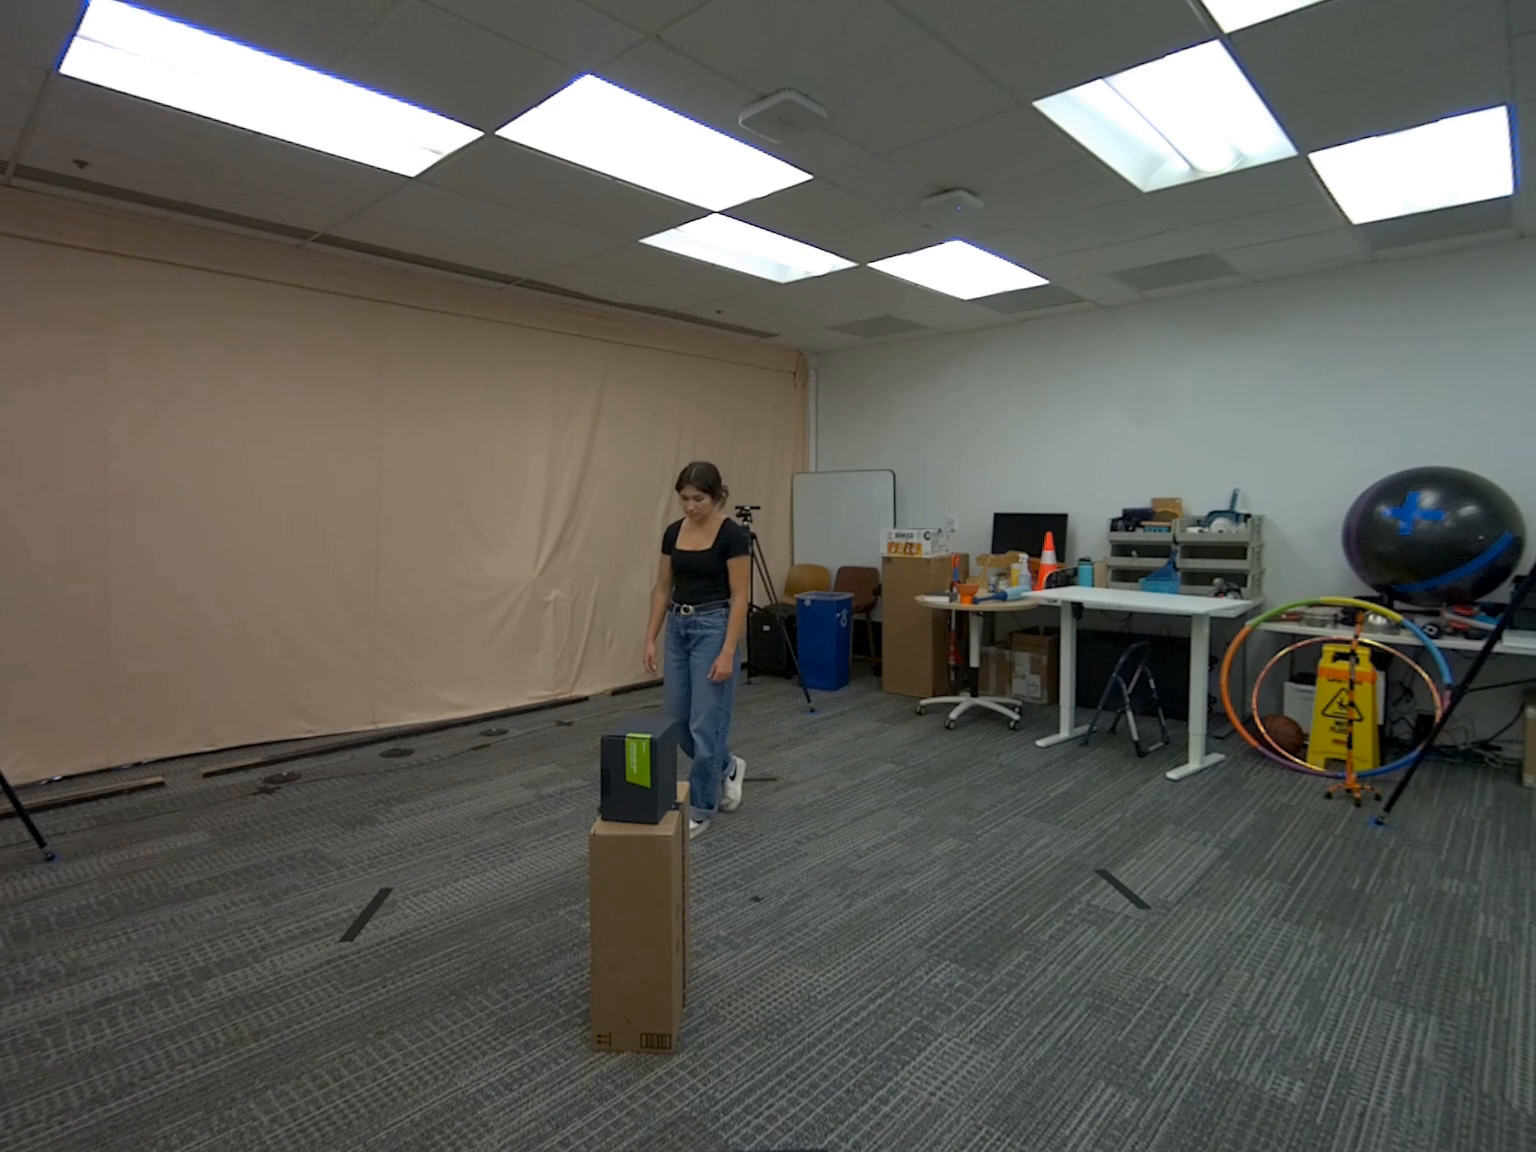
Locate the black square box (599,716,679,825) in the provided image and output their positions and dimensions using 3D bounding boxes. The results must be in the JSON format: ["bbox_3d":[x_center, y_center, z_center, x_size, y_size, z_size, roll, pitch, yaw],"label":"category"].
[{"bbox_3d":[-0.345,0.518,2.295,0.157,0.227,0.215,0,5,9],"label":"black square box"}]
